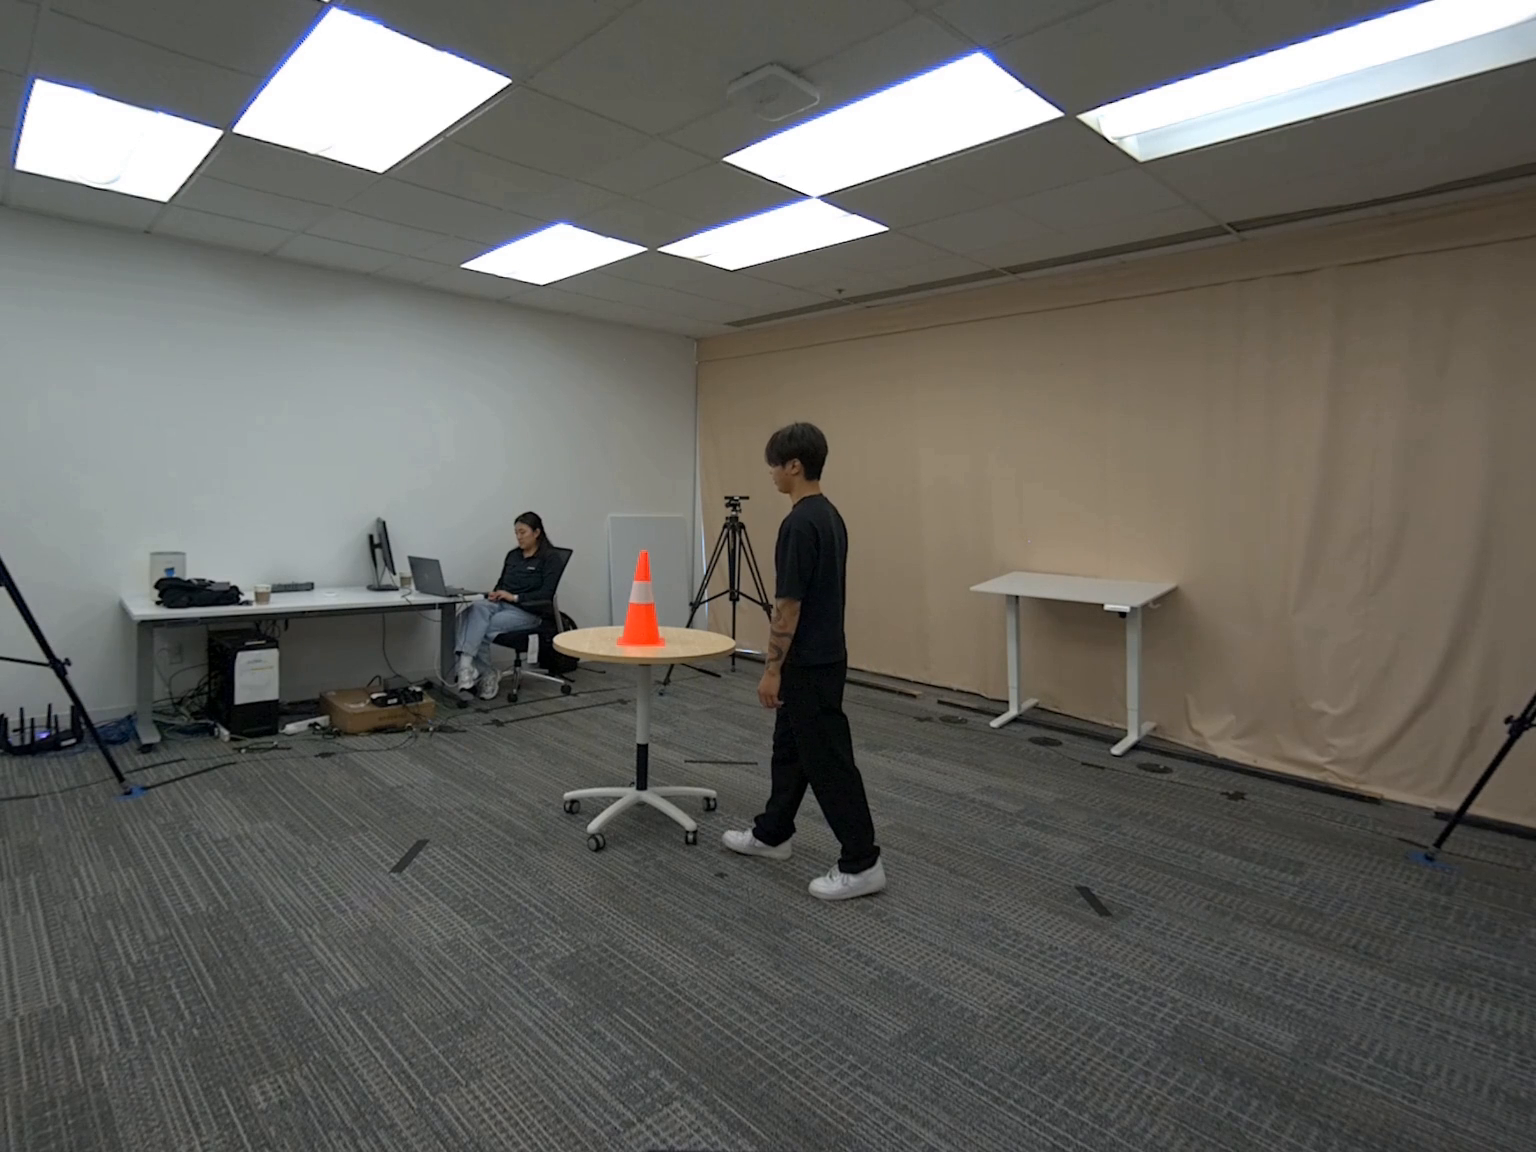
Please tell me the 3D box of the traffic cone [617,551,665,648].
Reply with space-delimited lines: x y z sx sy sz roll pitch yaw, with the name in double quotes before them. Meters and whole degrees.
"traffic cone" -0.530 0.090 3.499 0.203 0.383 0.205 4 3 -10
